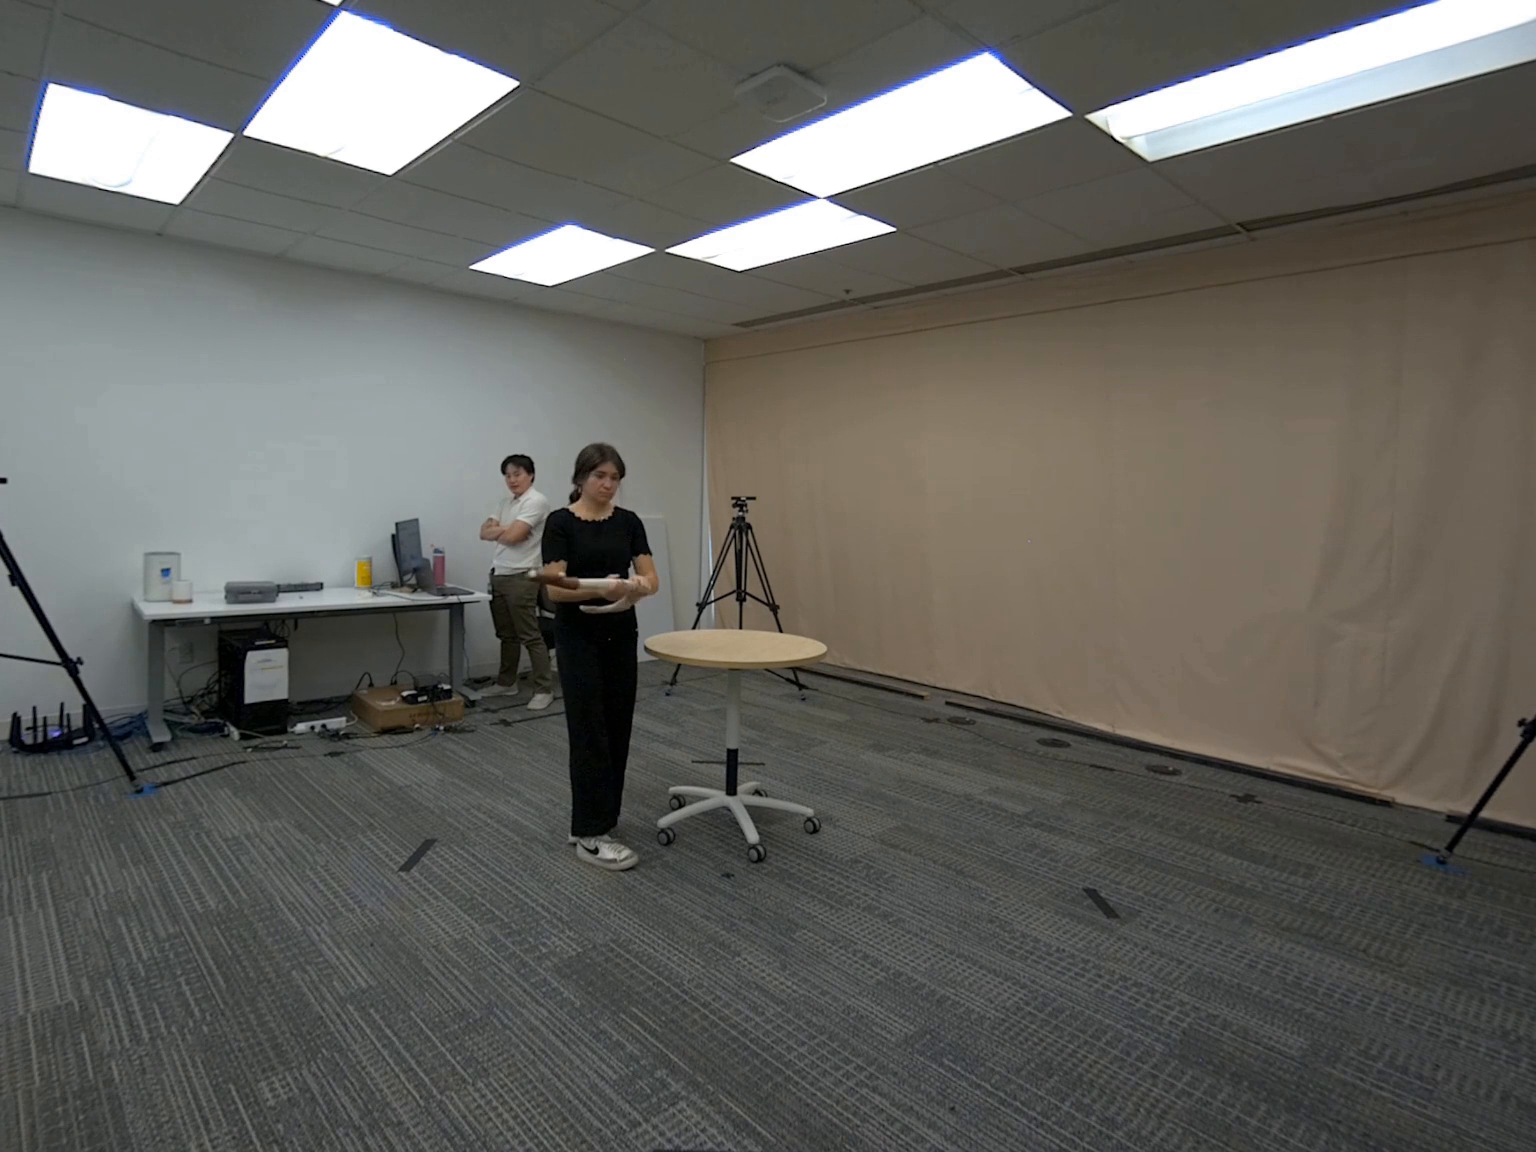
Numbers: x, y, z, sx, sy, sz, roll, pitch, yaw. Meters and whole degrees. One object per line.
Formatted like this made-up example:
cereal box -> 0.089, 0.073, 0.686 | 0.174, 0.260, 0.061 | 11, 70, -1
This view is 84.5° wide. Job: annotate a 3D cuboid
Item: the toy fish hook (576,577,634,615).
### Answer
toy fish hook -> -0.663, 0.057, 2.979 | 0.226, 0.049, 0.492 | -34, -31, 30
